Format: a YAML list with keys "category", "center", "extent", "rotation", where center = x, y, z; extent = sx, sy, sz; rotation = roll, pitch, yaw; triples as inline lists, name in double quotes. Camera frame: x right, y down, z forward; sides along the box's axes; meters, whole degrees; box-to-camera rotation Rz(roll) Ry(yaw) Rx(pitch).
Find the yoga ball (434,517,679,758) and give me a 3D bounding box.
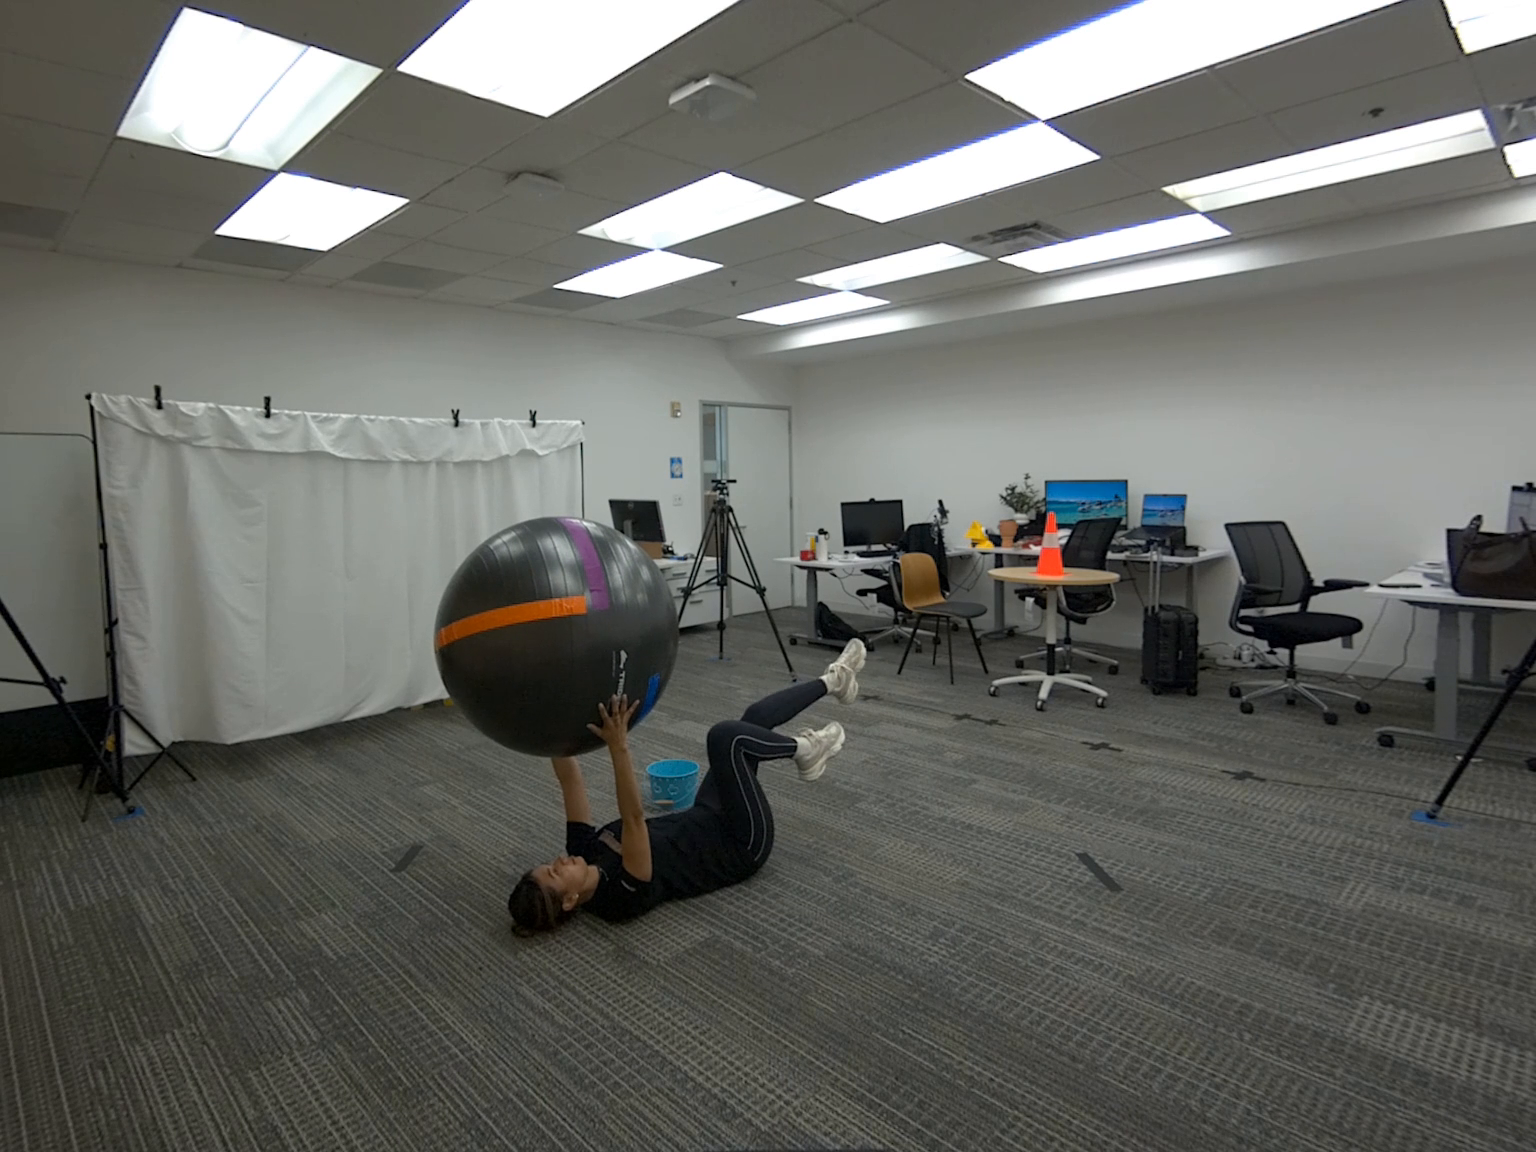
- category: "yoga ball"
  center: [-0.663, 0.190, 2.722]
  extent: [0.757, 0.757, 0.759]
  rotation: [0, 1, -2]
